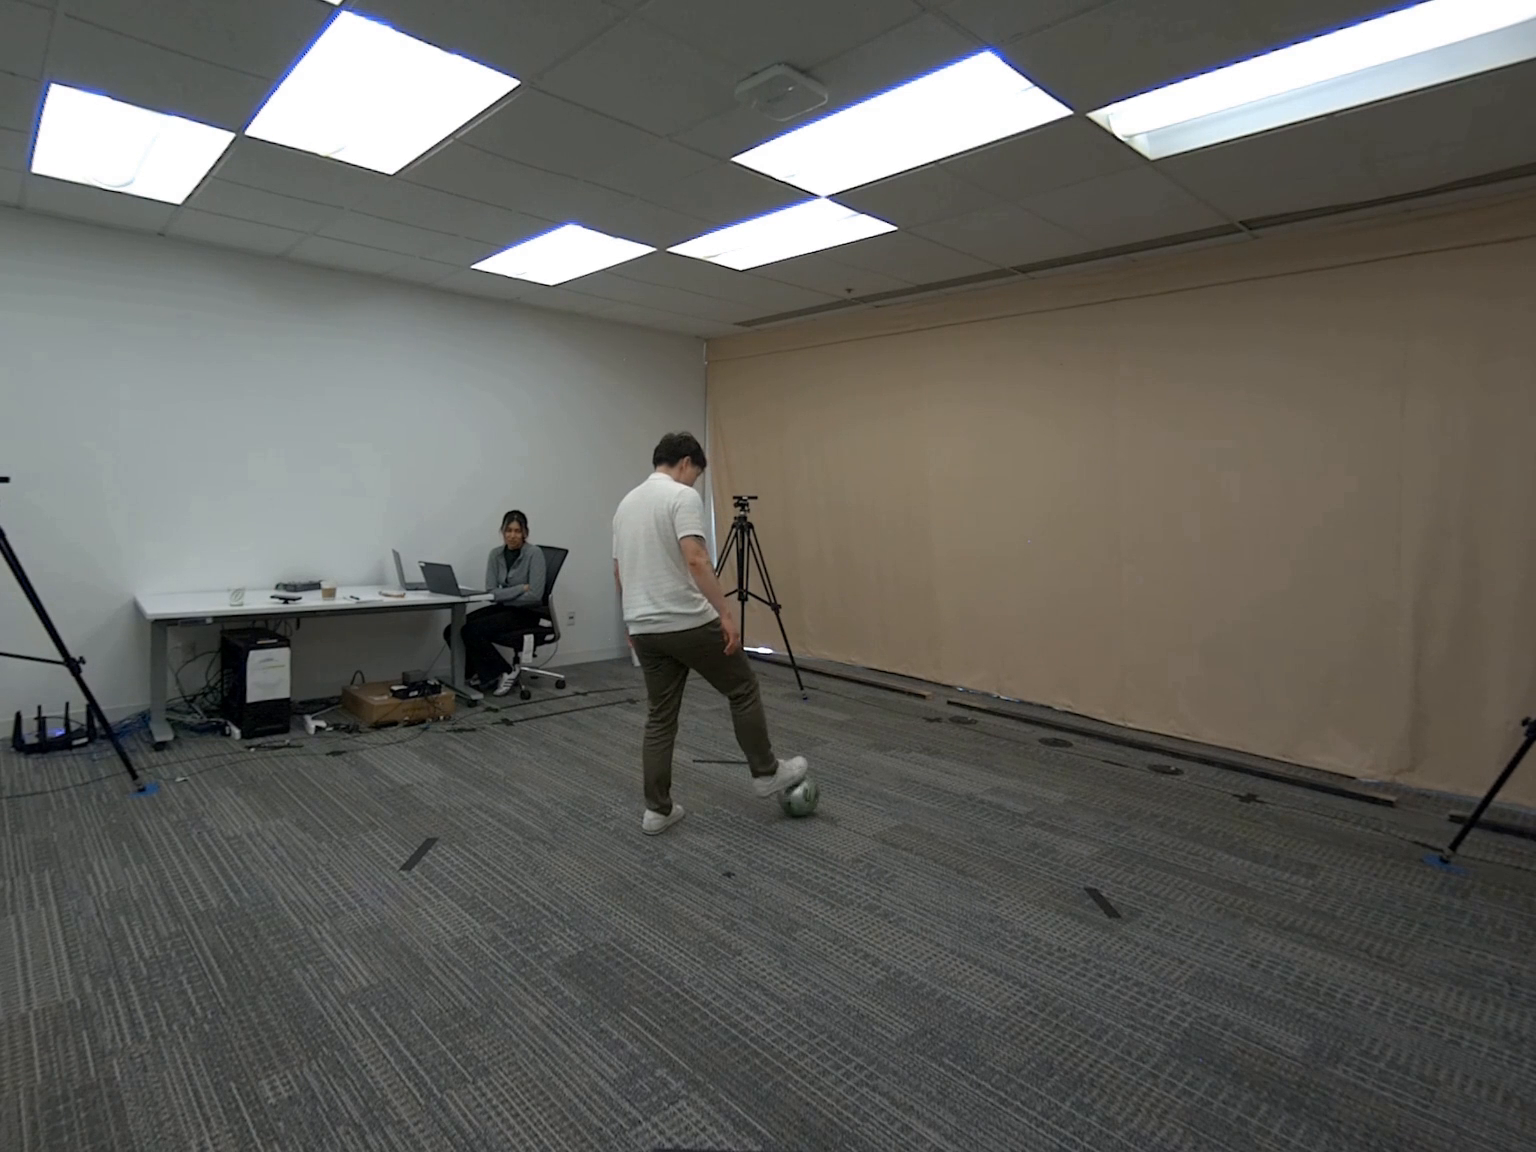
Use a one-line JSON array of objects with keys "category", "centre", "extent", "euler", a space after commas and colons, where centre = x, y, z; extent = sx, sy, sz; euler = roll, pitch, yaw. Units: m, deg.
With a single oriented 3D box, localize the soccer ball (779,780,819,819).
[{"category": "soccer ball", "centre": [0.124, 0.965, 3.703], "extent": [0.187, 0.187, 0.188], "euler": [1, 4, -1]}]
